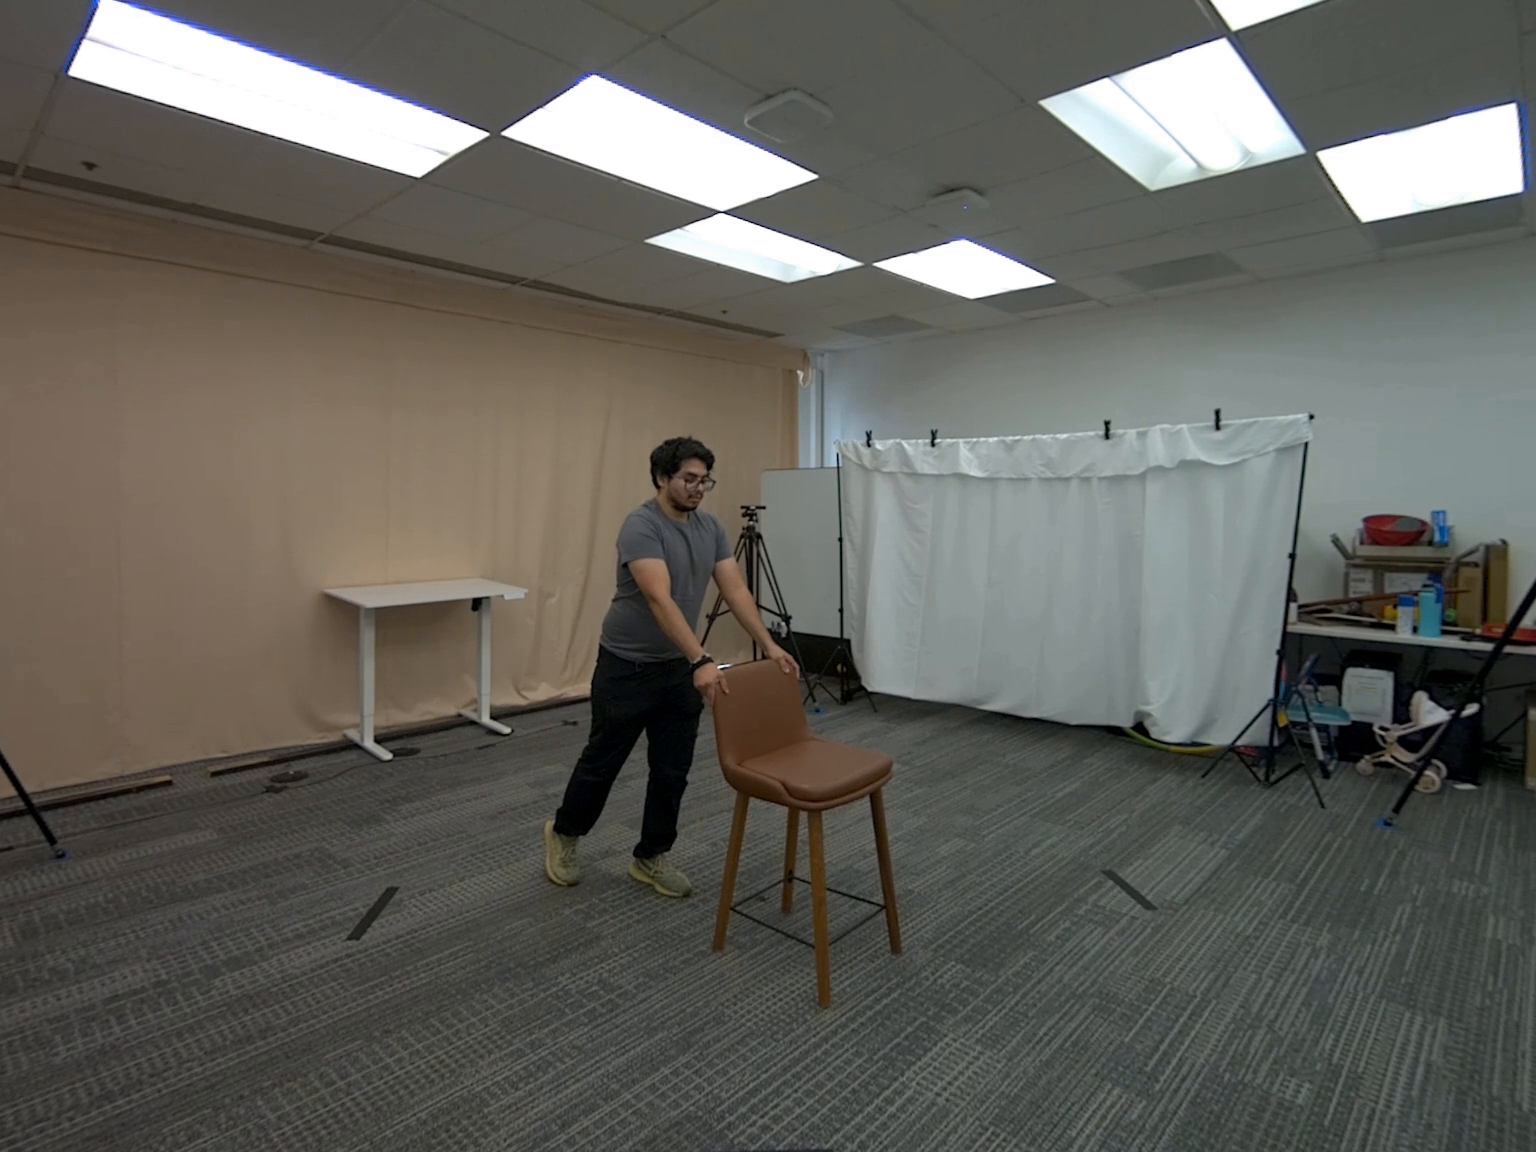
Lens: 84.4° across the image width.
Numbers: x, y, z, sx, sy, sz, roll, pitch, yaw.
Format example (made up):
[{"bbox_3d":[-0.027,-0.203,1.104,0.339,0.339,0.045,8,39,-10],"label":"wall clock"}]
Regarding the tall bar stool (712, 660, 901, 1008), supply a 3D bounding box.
[{"bbox_3d":[0.112,0.739,2.609,0.483,0.888,0.442,0,3,42],"label":"tall bar stool"}]
